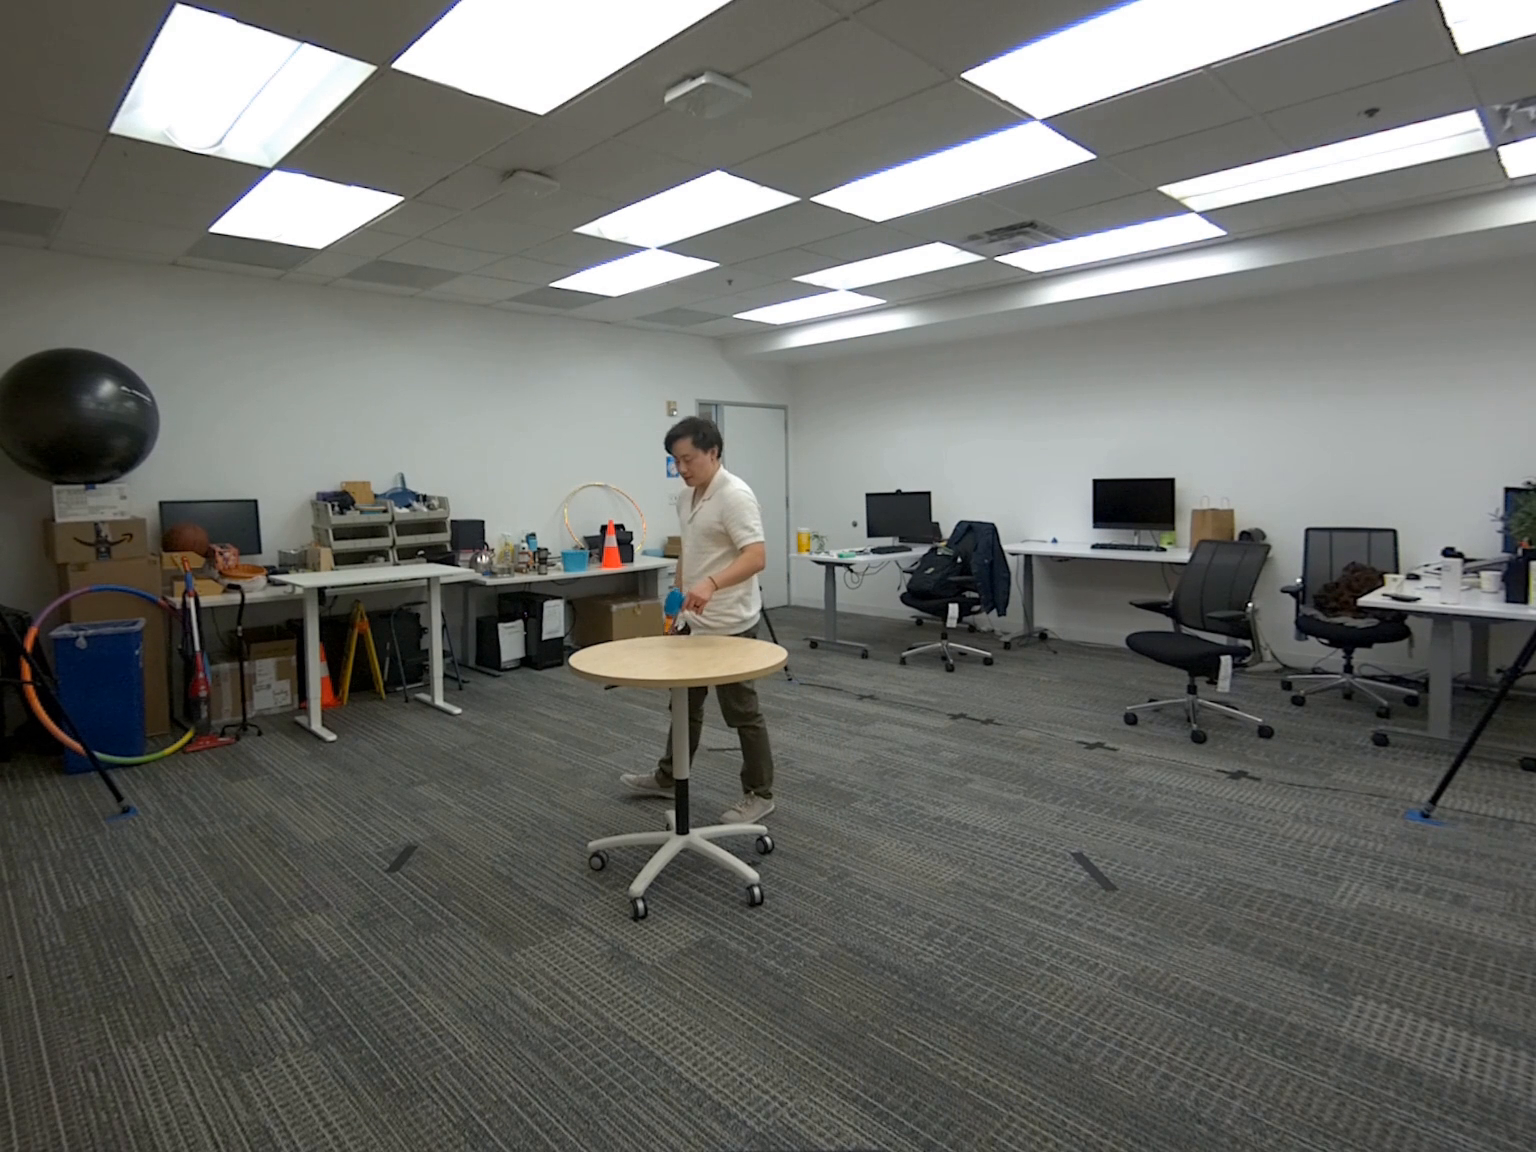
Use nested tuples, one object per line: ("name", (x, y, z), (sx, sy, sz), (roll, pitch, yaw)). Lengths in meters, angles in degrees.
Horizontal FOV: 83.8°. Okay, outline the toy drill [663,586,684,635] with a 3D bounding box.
("toy drill", (-0.317, 0.137, 3.148), (0.143, 0.170, 0.062), (14, 0, -15))
